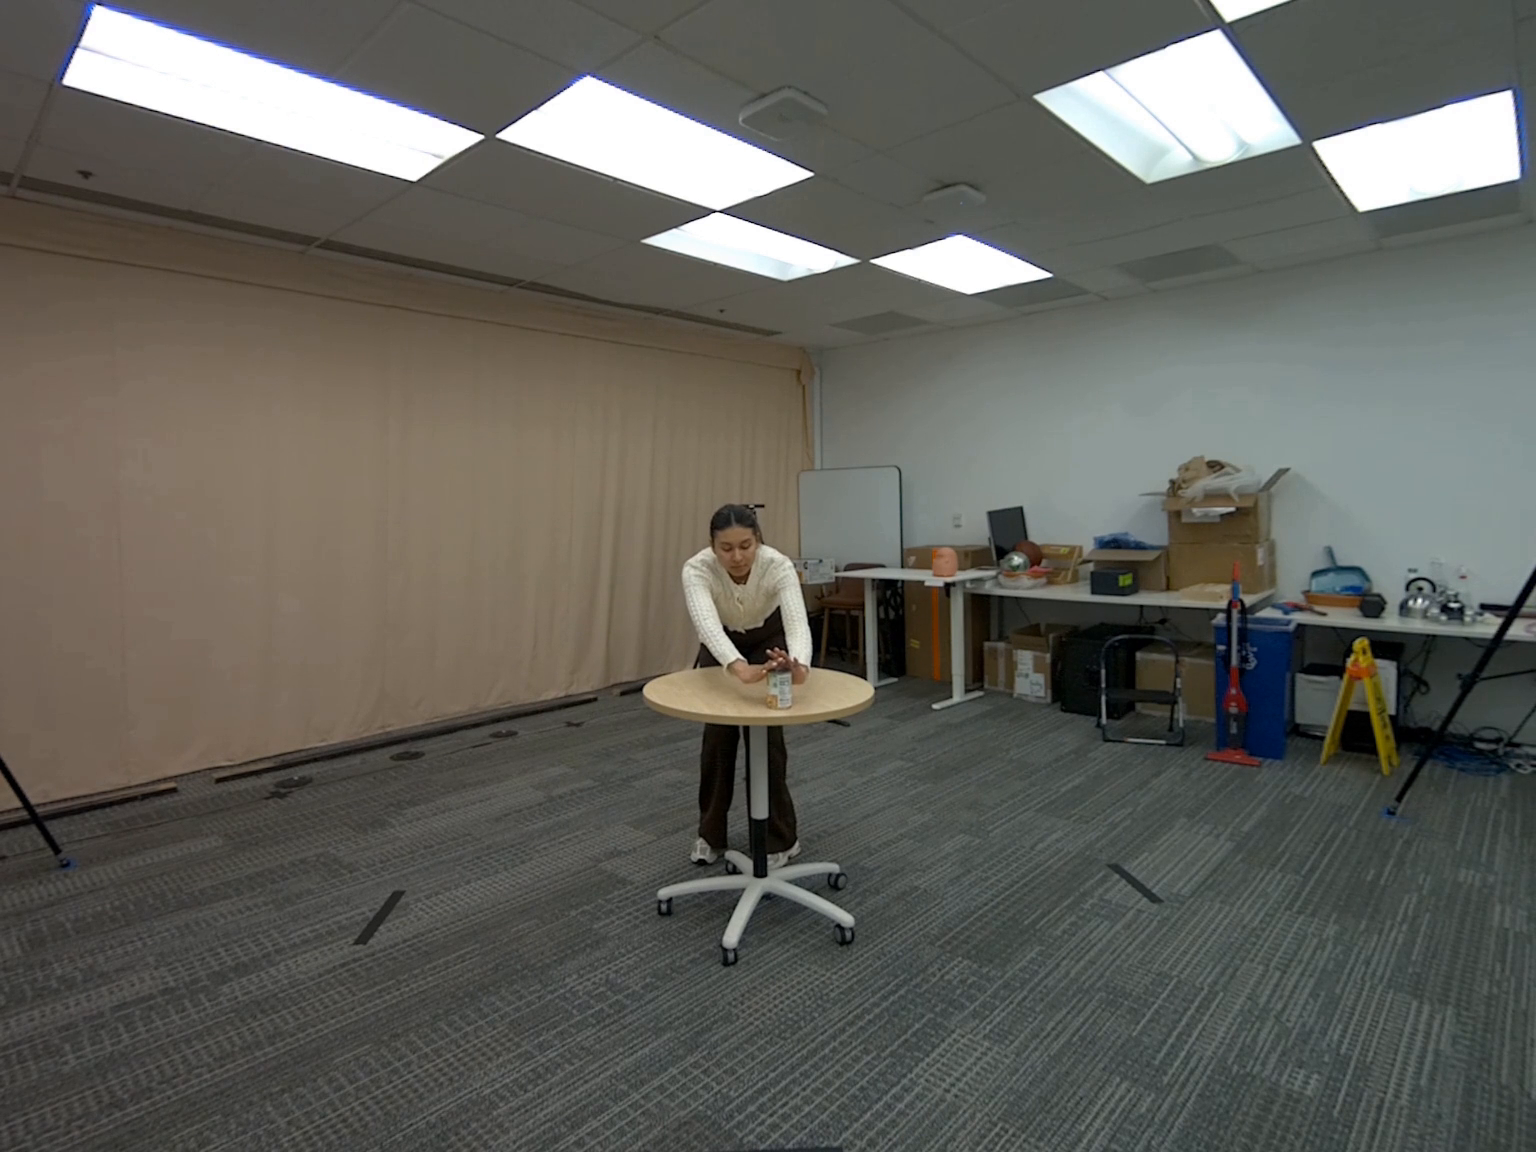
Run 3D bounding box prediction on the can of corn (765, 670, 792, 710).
[{"bbox_3d":[0.027,0.339,2.534,0.074,0.111,0.074,-2,5,-2],"label":"can of corn"}]
